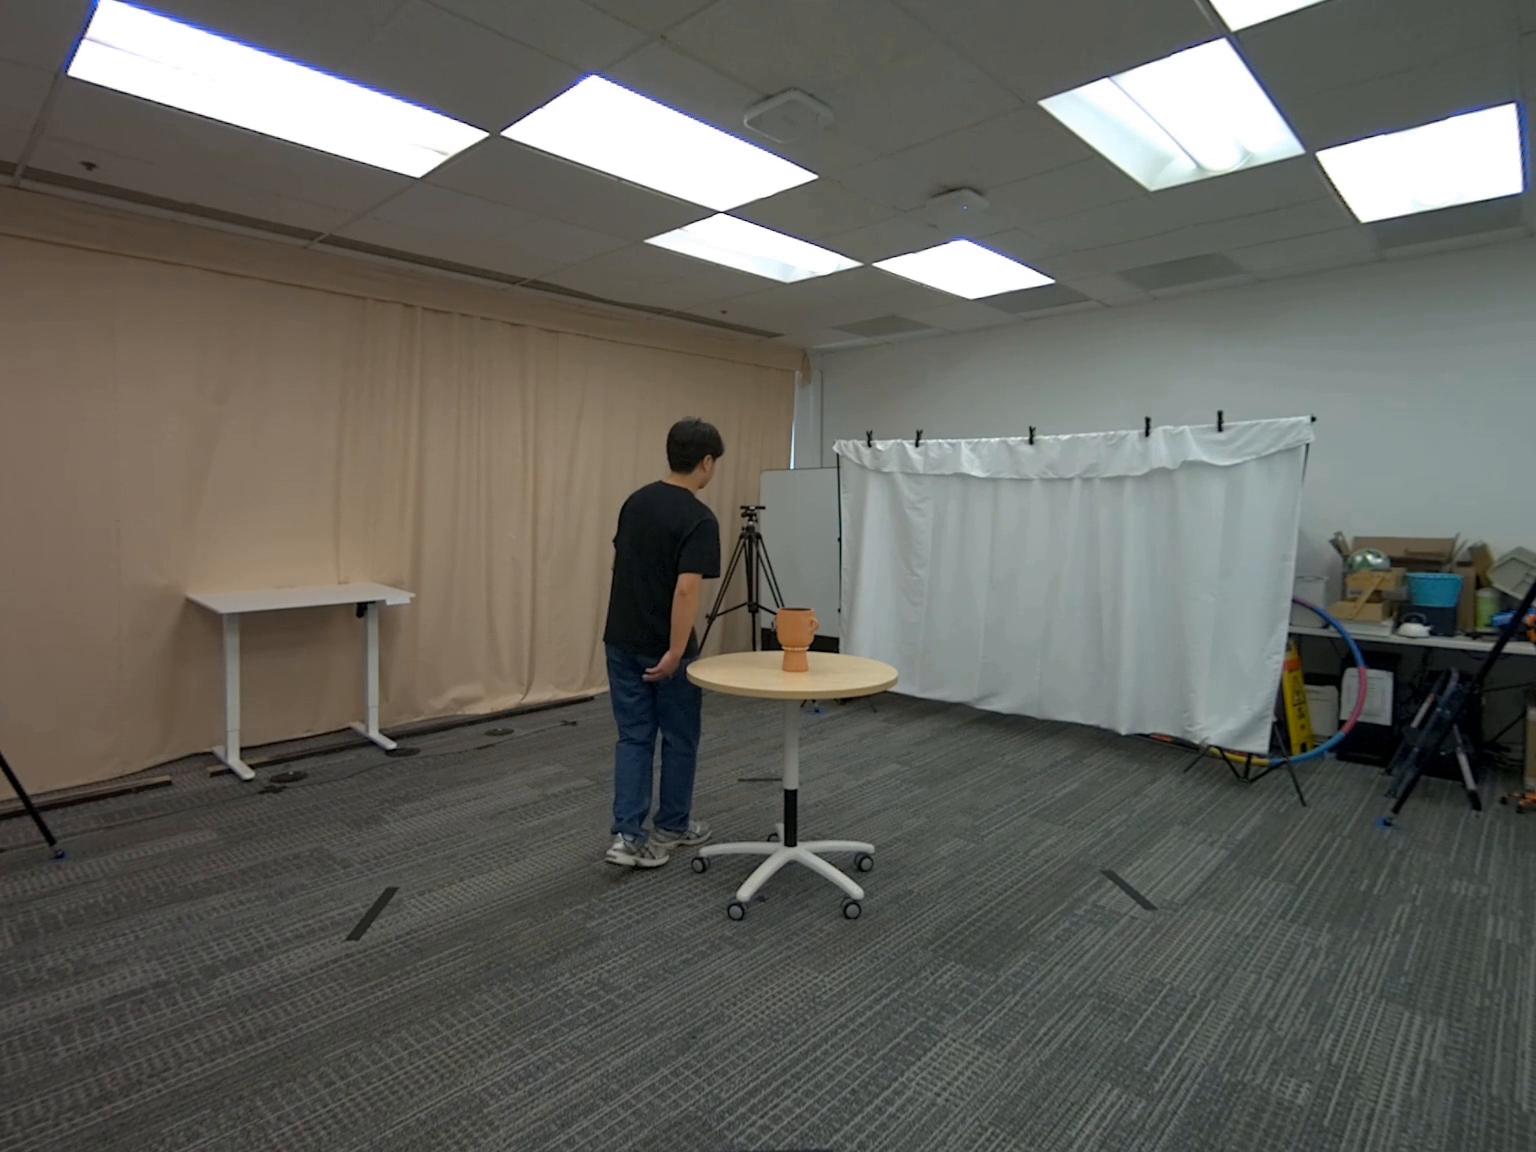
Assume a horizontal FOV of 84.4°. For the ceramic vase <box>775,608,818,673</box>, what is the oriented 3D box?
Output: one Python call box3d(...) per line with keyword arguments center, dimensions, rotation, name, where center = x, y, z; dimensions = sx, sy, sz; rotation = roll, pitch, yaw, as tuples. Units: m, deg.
box3d(center=(0.107, 0.232, 3.050), dimensions=(0.133, 0.219, 0.161), rotation=(0, 3, -14), name="ceramic vase")
